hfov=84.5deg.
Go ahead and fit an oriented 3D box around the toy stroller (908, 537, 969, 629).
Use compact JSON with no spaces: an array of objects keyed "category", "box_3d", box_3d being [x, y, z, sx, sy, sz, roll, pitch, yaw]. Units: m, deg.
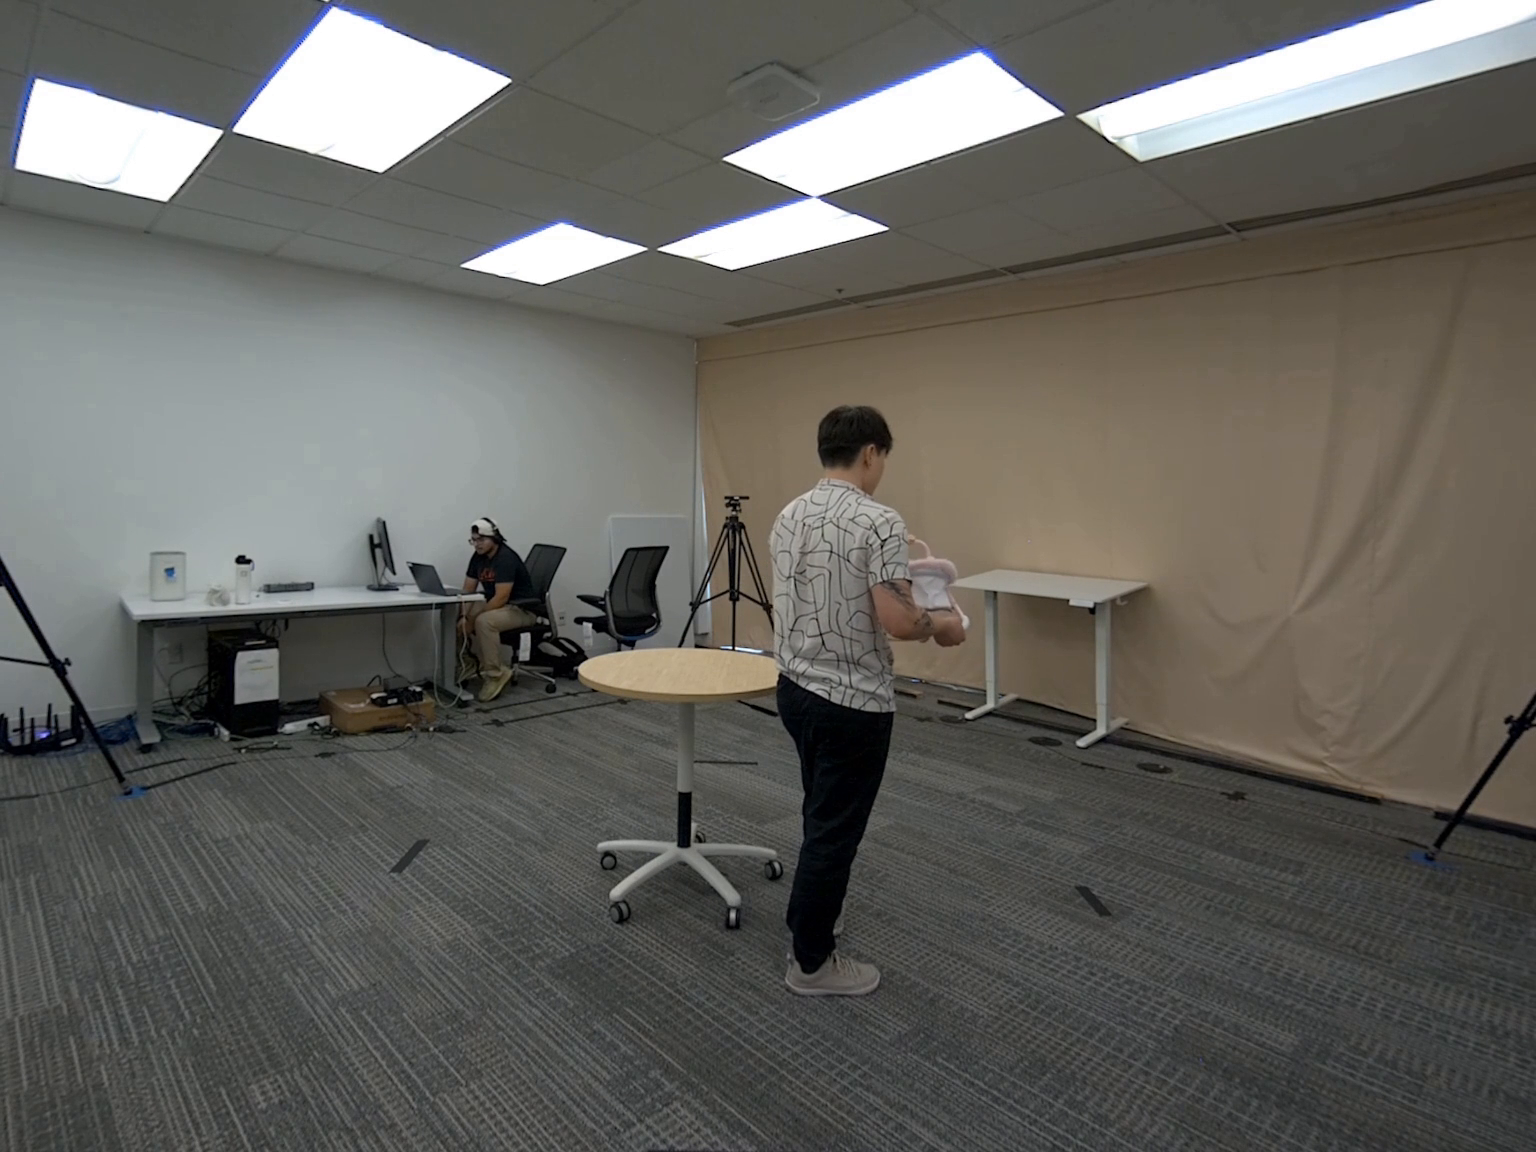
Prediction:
[{"category":"toy stroller","box_3d":[0.430,0.032,2.680,0.278,0.344,0.537,5,-11,-14]}]
